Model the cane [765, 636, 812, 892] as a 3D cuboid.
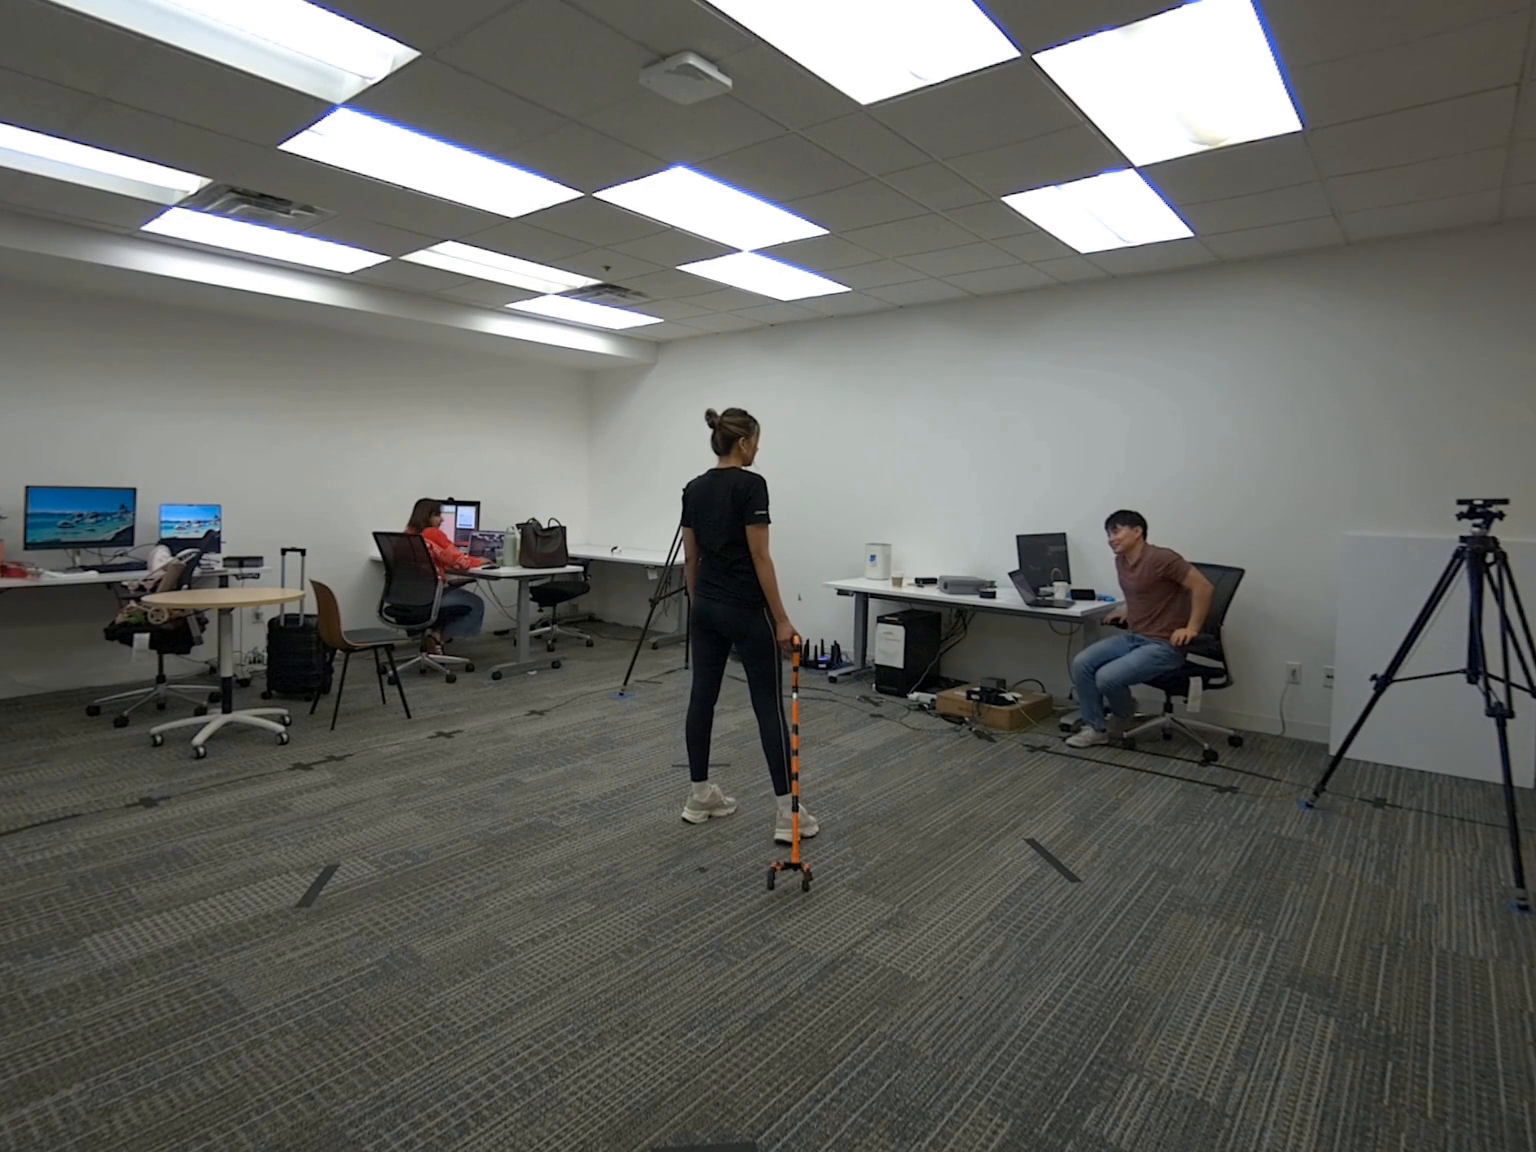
[{"bbox_3d":[0.077,0.646,3.109,0.152,0.930,0.201,2,-30,-1],"label":"cane"}]
